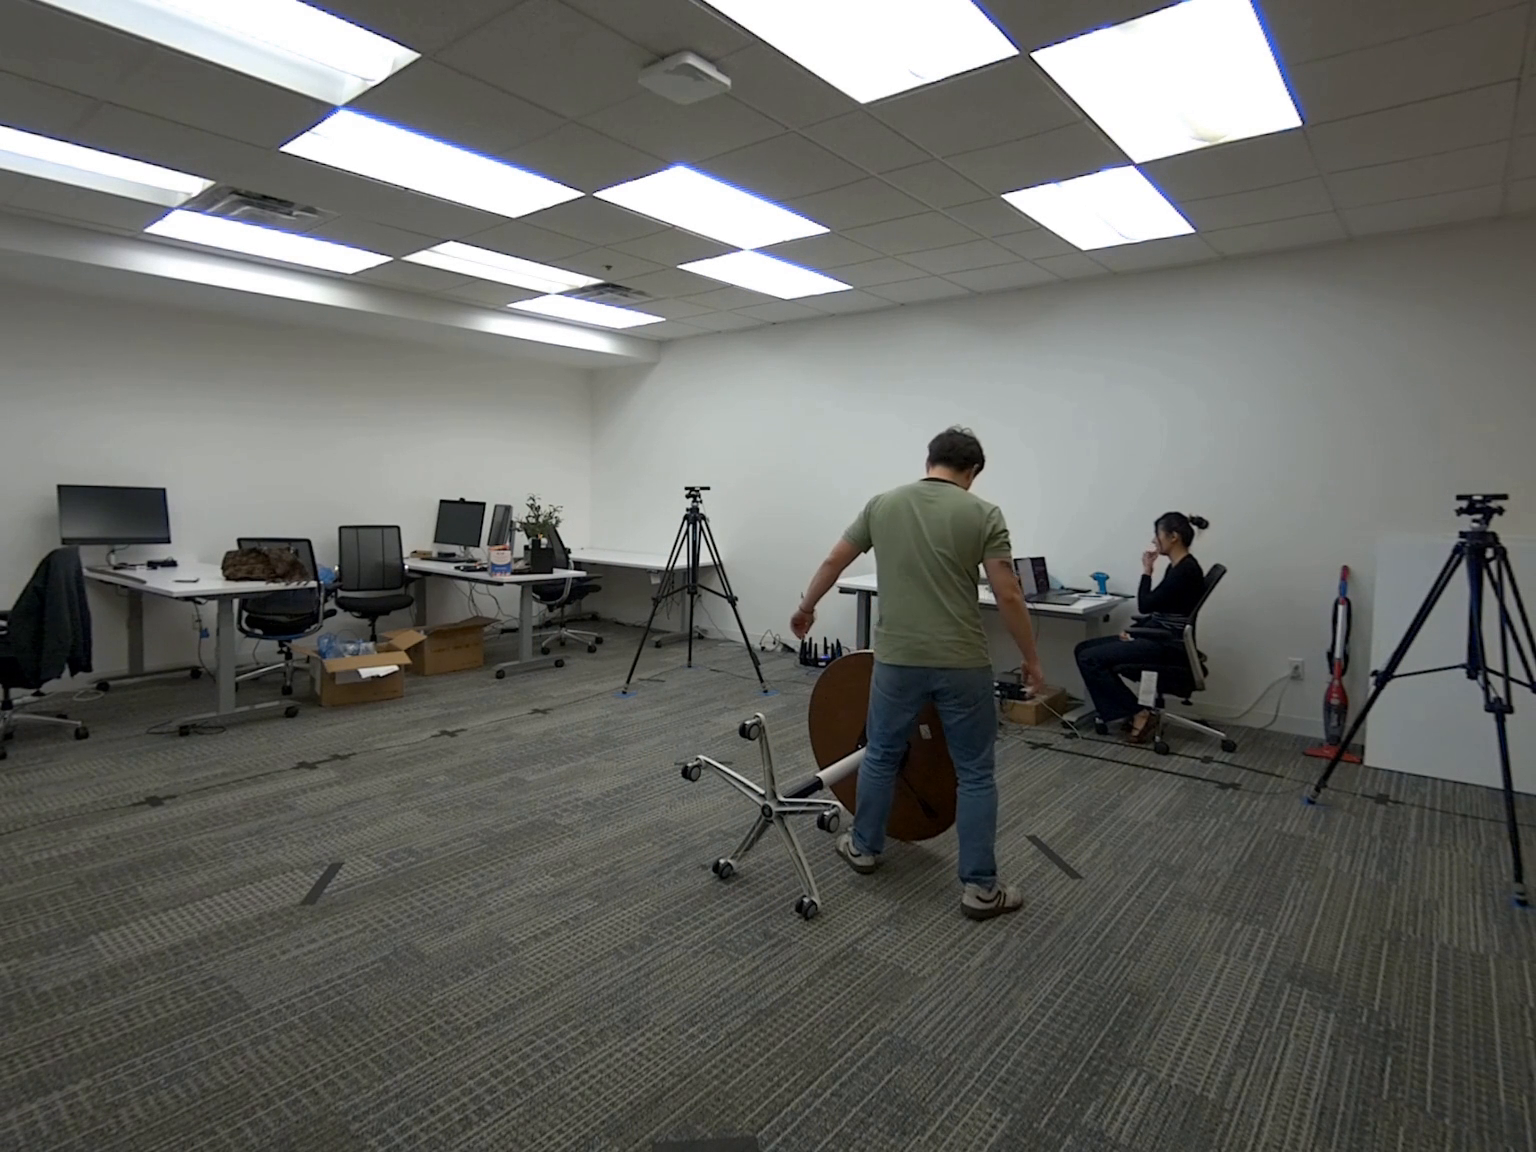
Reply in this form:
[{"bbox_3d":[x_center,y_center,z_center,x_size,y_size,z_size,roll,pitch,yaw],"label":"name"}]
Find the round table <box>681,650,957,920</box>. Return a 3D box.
[{"bbox_3d":[0.190,0.741,3.124,0.790,0.757,0.774,5,13,44],"label":"round table"}]
